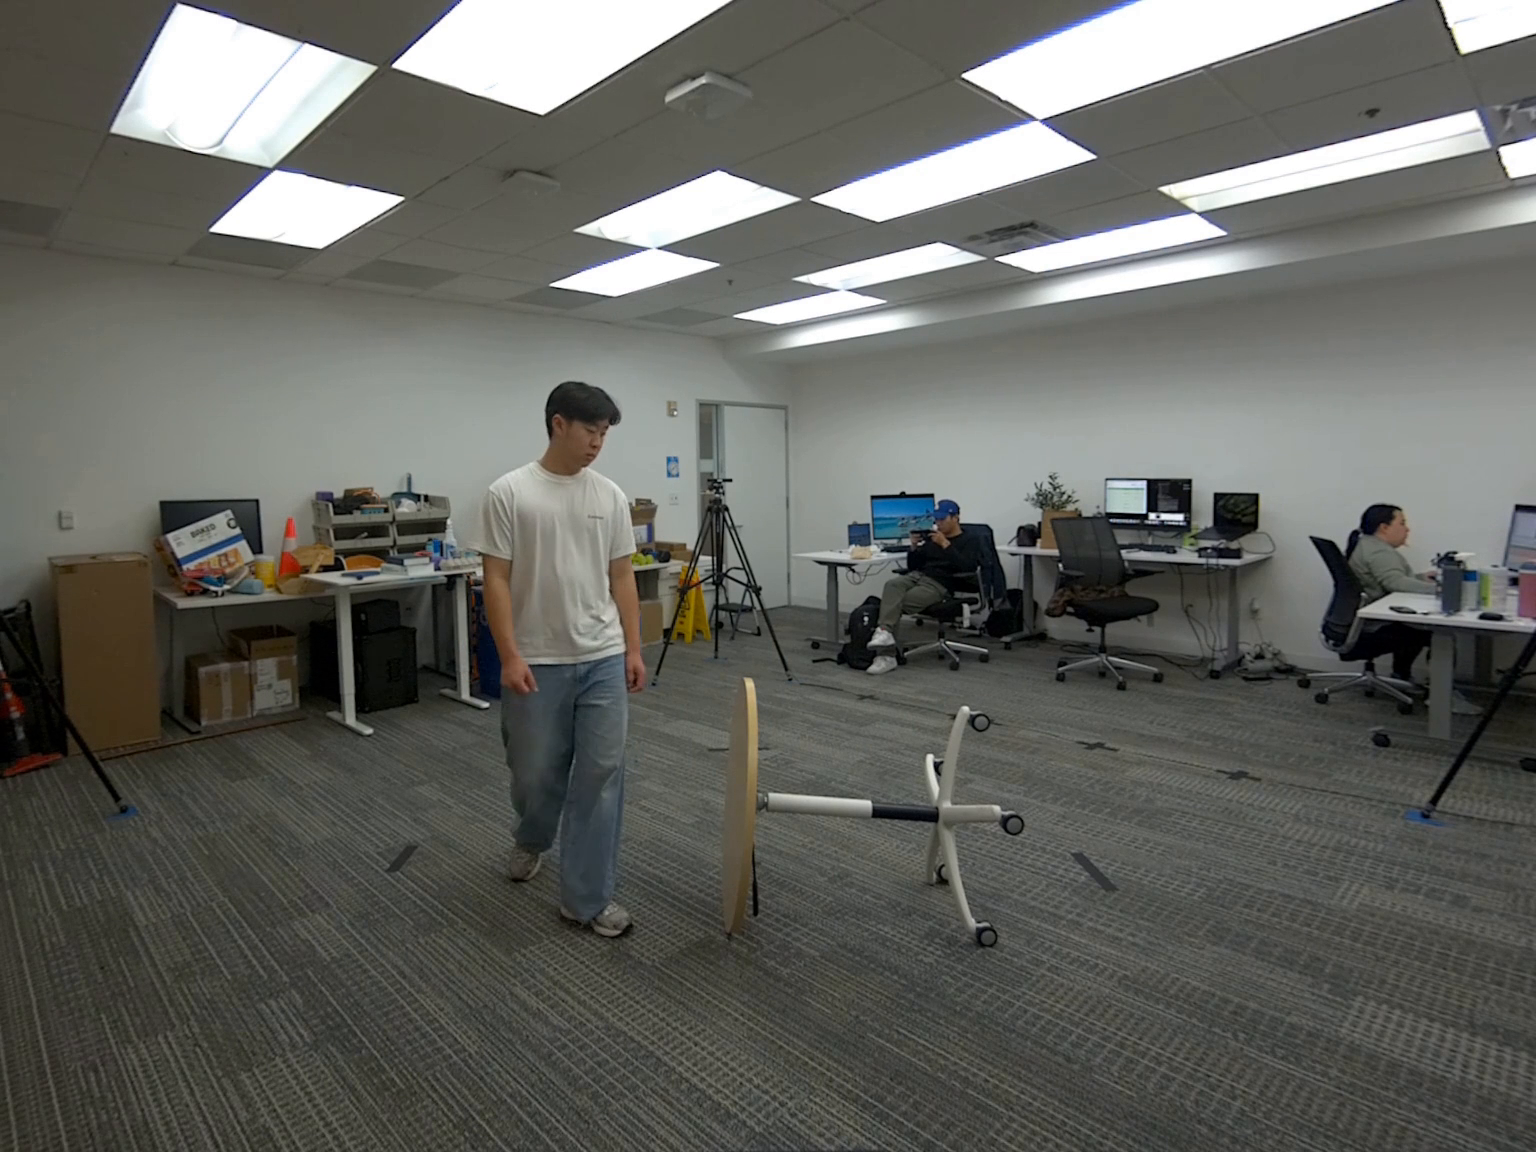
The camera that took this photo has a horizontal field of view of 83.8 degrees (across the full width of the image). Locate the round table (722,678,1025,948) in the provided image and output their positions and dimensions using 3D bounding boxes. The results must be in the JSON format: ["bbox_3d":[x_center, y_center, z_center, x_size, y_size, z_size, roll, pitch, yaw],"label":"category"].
[{"bbox_3d":[0.285,0.735,2.735,0.783,0.783,0.792,5,4,-5],"label":"round table"}]
